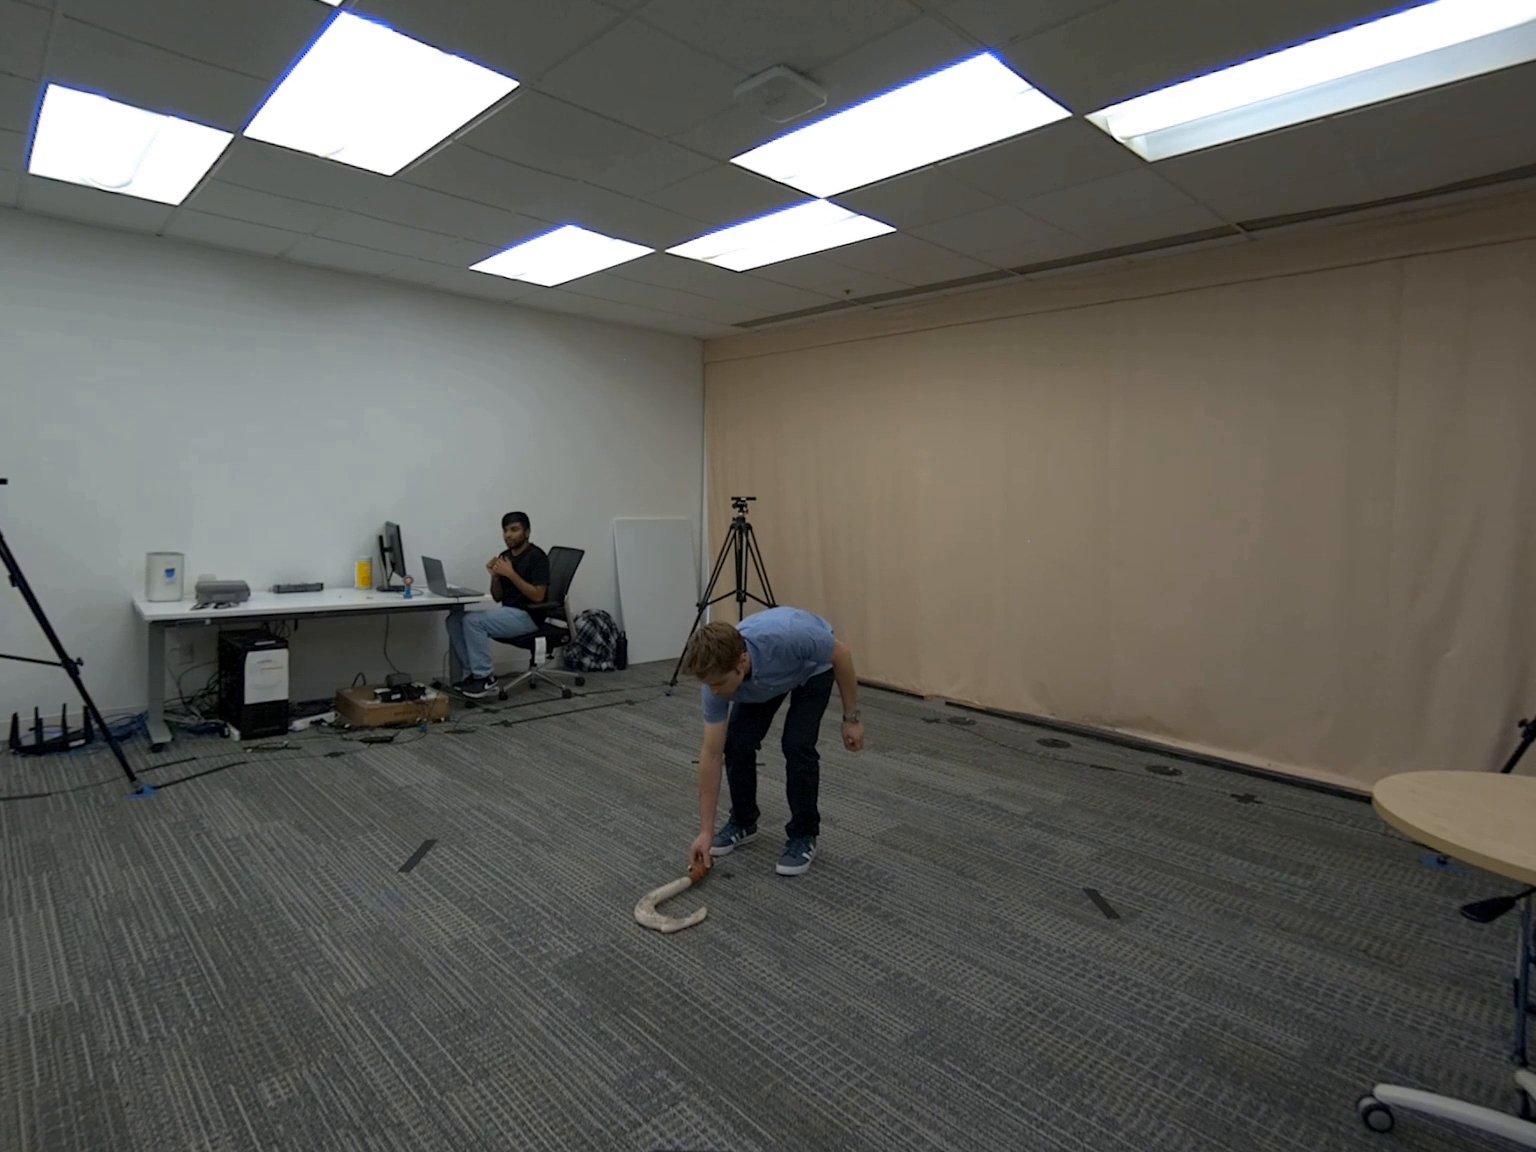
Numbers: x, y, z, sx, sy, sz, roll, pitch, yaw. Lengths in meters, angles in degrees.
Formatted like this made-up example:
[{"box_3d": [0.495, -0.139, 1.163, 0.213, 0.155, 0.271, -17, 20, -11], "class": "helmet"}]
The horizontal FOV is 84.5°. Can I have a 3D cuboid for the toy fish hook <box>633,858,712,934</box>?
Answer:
[{"box_3d": [-0.272, 1.102, 2.916, 0.229, 0.048, 0.499, 12, 11, 23], "class": "toy fish hook"}]
